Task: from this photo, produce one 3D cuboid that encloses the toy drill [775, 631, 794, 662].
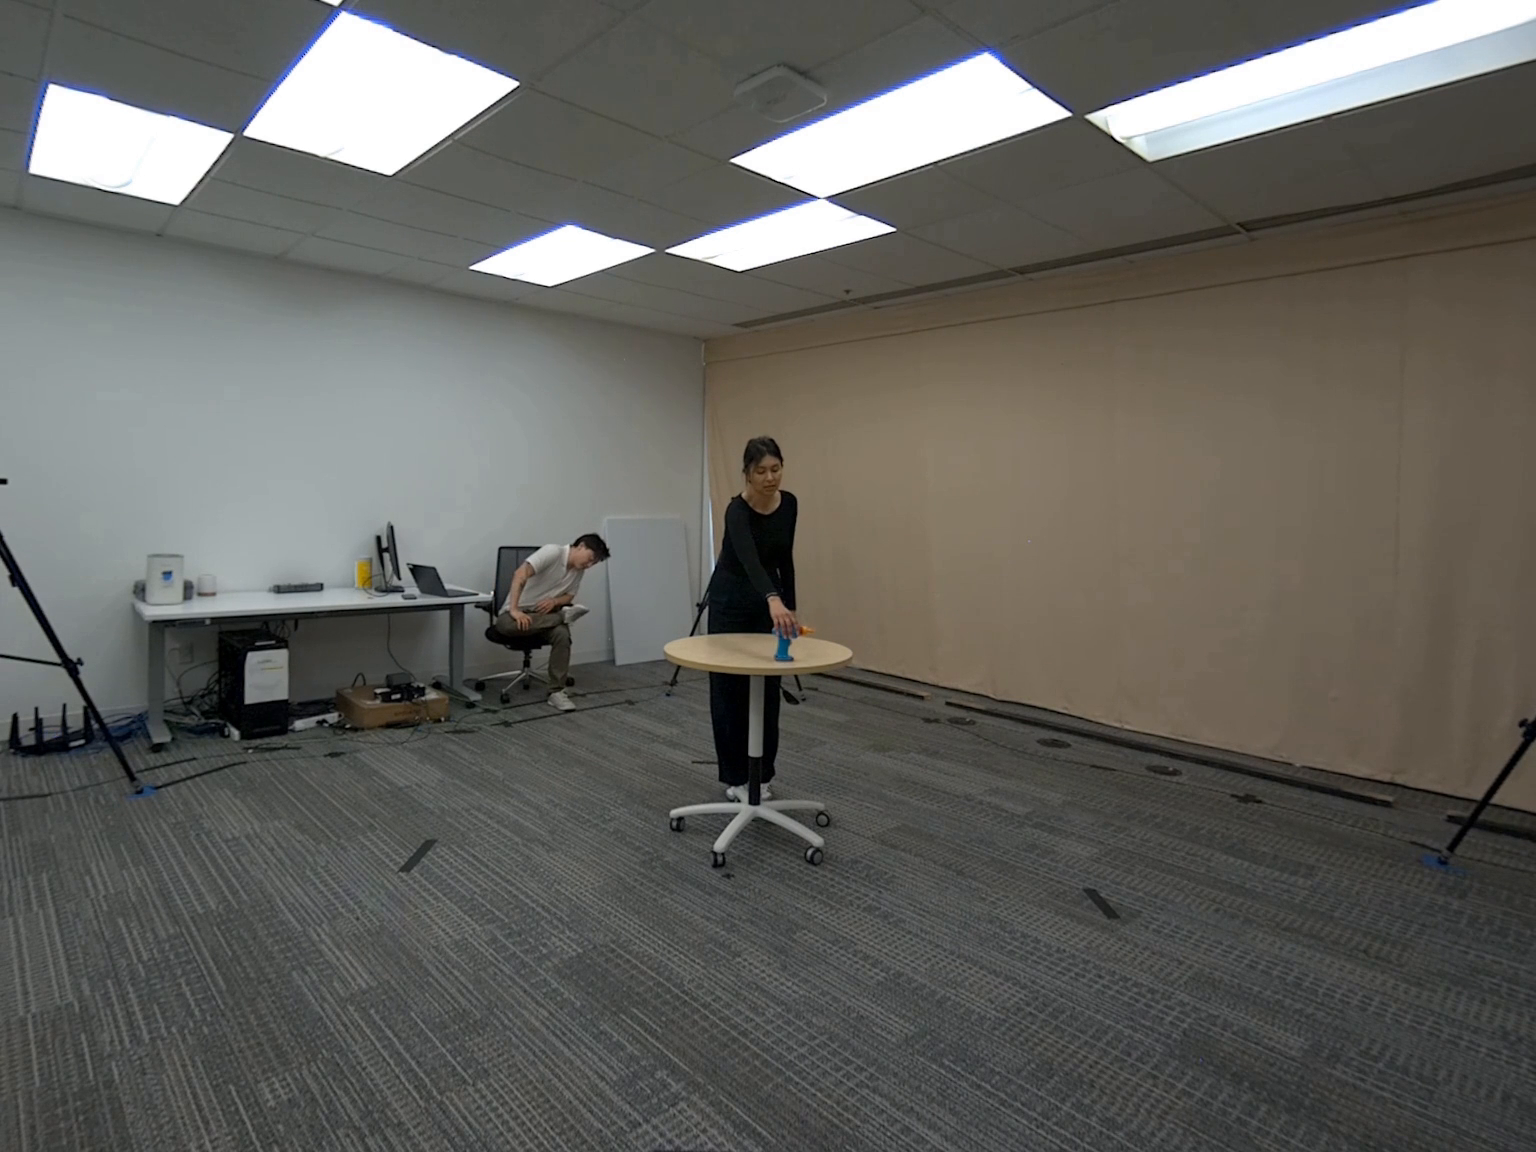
[{"bbox_3d":[0.084,0.248,3.203,0.168,0.146,0.061,-2,1,-9],"label":"toy drill"}]
